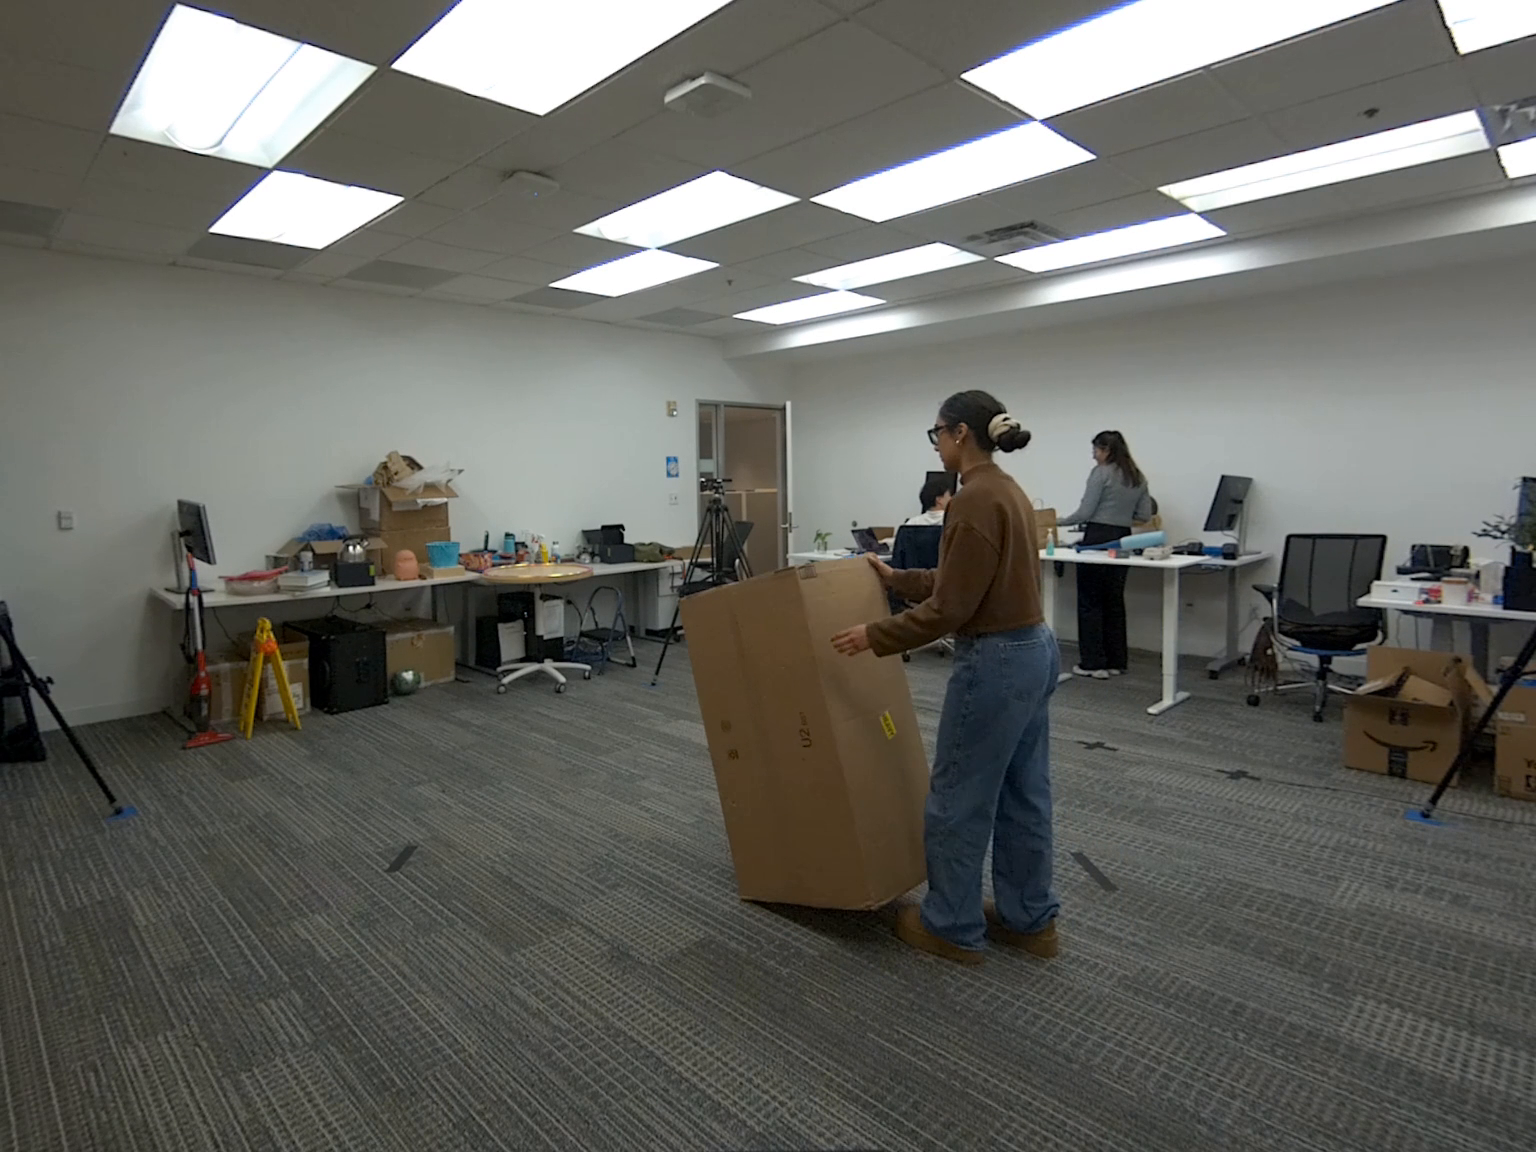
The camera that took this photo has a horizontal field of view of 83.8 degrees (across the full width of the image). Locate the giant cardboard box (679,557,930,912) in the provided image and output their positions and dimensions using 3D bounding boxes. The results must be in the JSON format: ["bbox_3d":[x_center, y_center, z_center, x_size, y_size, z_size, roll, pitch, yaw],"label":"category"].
[{"bbox_3d":[0.140,0.504,2.861,0.415,1.035,0.588,-5,-11,-46],"label":"giant cardboard box"}]
